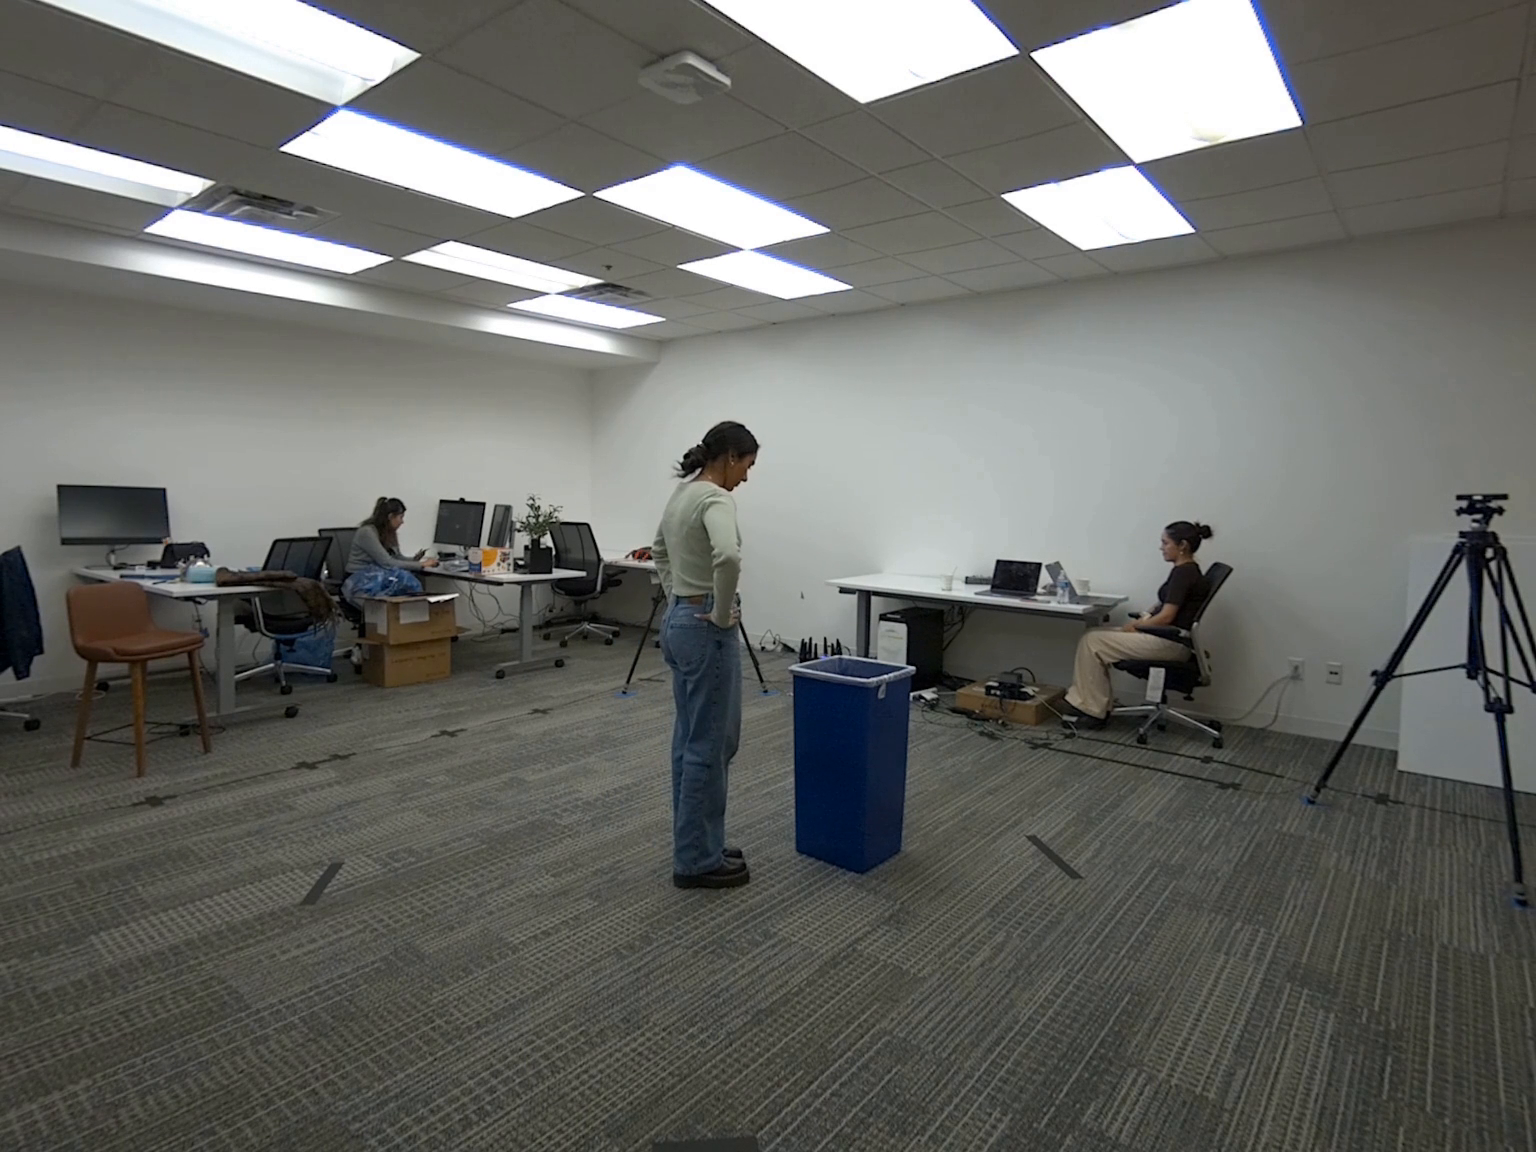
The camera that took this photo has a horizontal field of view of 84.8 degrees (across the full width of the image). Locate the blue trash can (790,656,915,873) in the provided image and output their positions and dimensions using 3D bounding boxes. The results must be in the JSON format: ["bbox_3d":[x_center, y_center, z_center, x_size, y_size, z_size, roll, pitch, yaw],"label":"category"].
[{"bbox_3d":[0.312,0.700,3.276,0.390,0.711,0.363,3,4,38],"label":"blue trash can"}]
